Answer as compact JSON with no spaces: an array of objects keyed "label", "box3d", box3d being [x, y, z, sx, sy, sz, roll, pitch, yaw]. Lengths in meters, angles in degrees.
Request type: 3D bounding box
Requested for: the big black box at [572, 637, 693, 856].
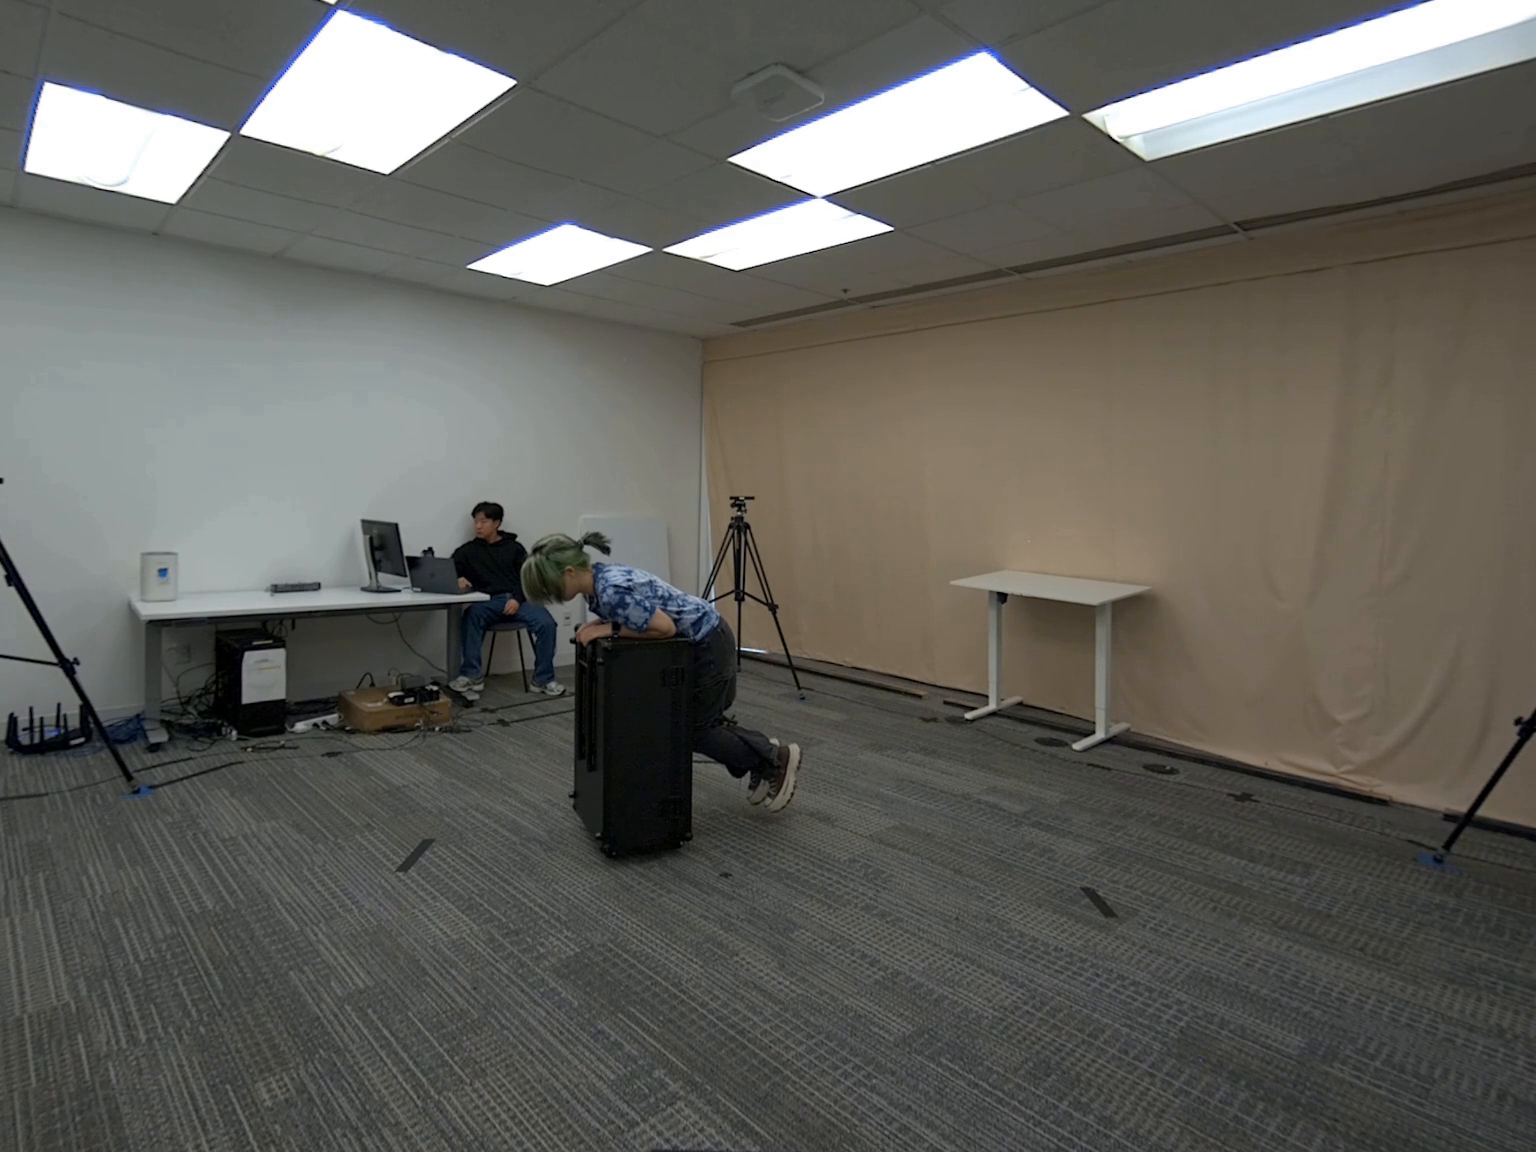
[{"label":"big black box","box3d":[-0.567,0.592,3.363,0.389,0.859,0.532,-1,4,-25]}]
